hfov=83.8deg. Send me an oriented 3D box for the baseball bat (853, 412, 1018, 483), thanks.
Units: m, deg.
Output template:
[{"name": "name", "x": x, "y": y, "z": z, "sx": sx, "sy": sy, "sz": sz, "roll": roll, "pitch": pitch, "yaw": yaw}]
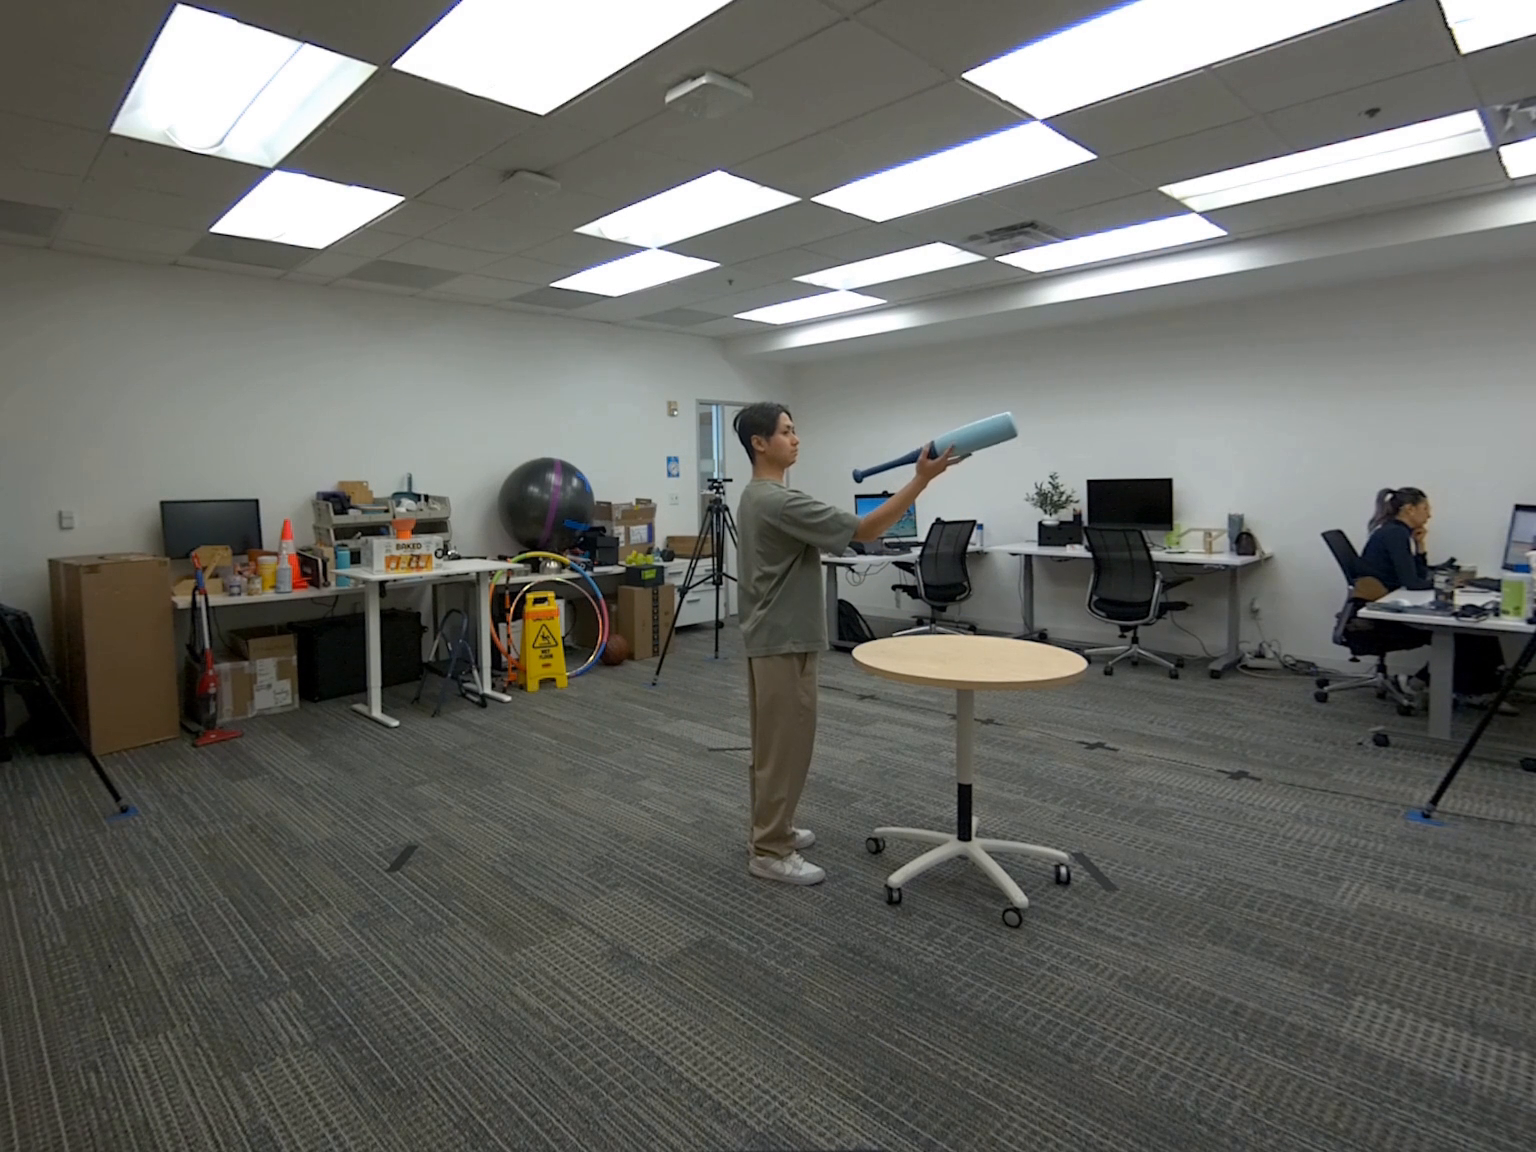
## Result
[{"name": "baseball bat", "x": 0.534, "y": -0.404, "z": 2.764, "sx": 0.551, "sy": 0.089, "sz": 0.087, "roll": -17, "pitch": -2, "yaw": 25}]
